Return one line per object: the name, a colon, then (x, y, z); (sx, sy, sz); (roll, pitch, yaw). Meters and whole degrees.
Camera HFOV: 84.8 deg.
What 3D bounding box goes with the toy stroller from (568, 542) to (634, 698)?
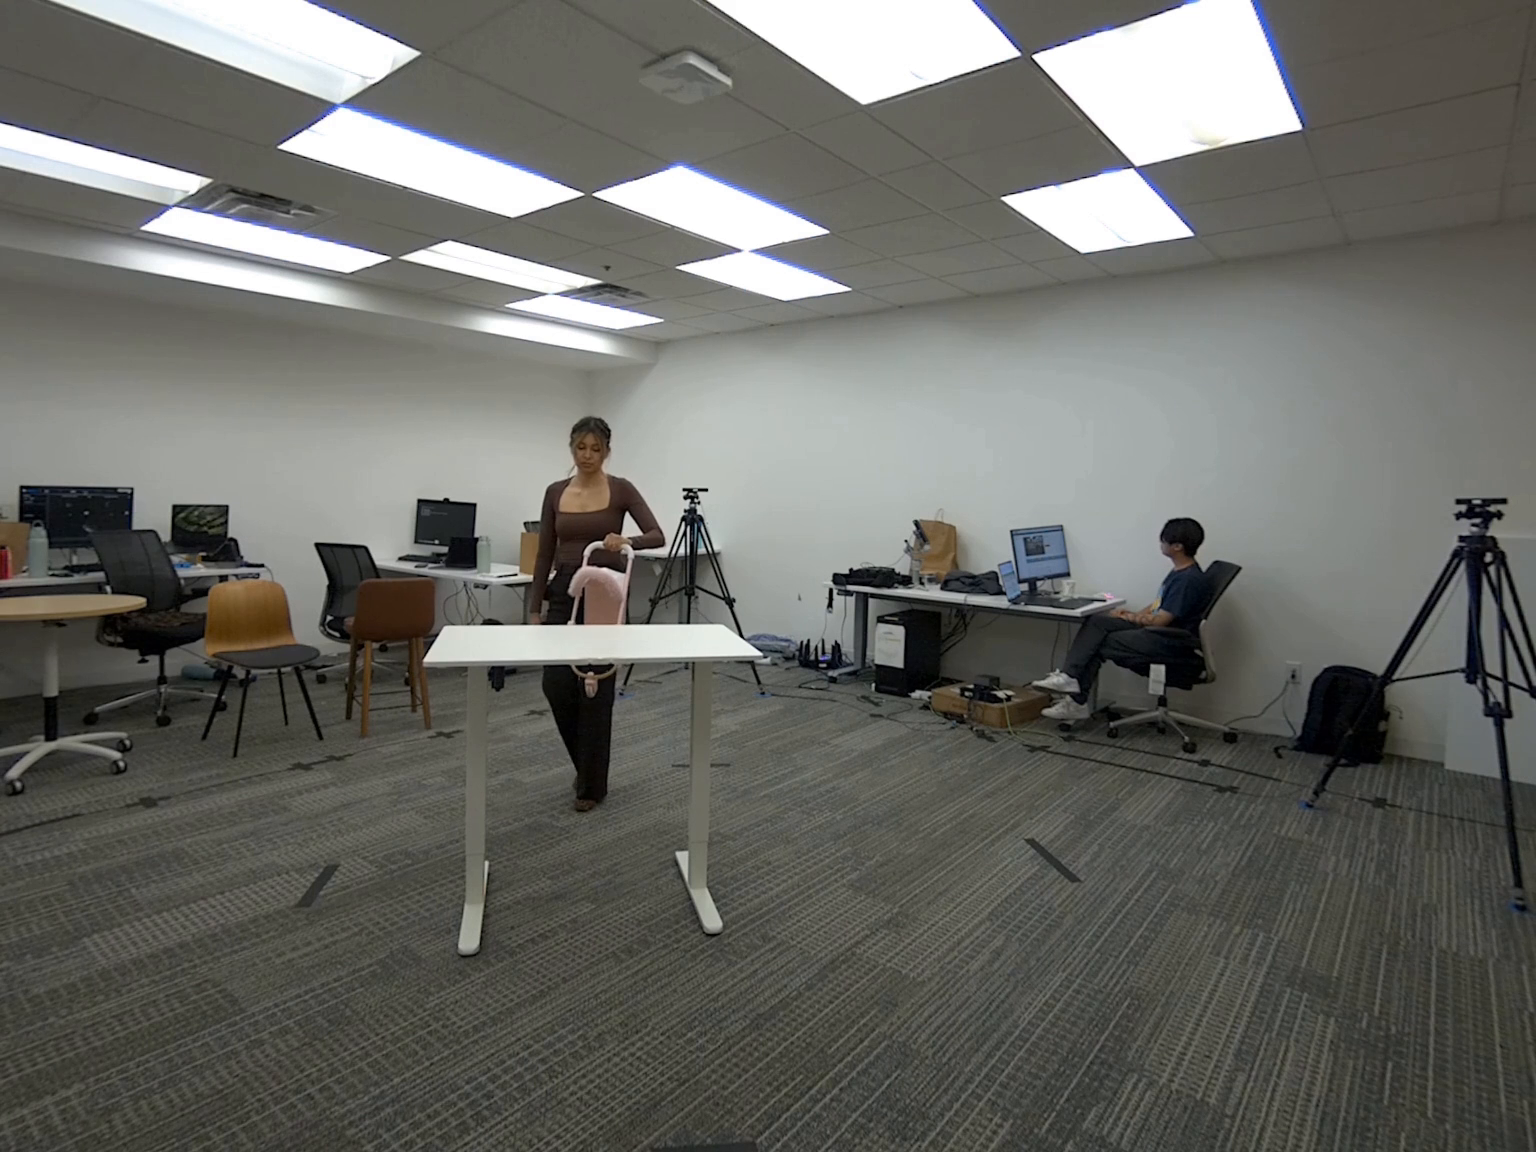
toy stroller: (-0.682, 0.169, 3.358); (0.286, 0.526, 0.342); (5, 19, 12)
